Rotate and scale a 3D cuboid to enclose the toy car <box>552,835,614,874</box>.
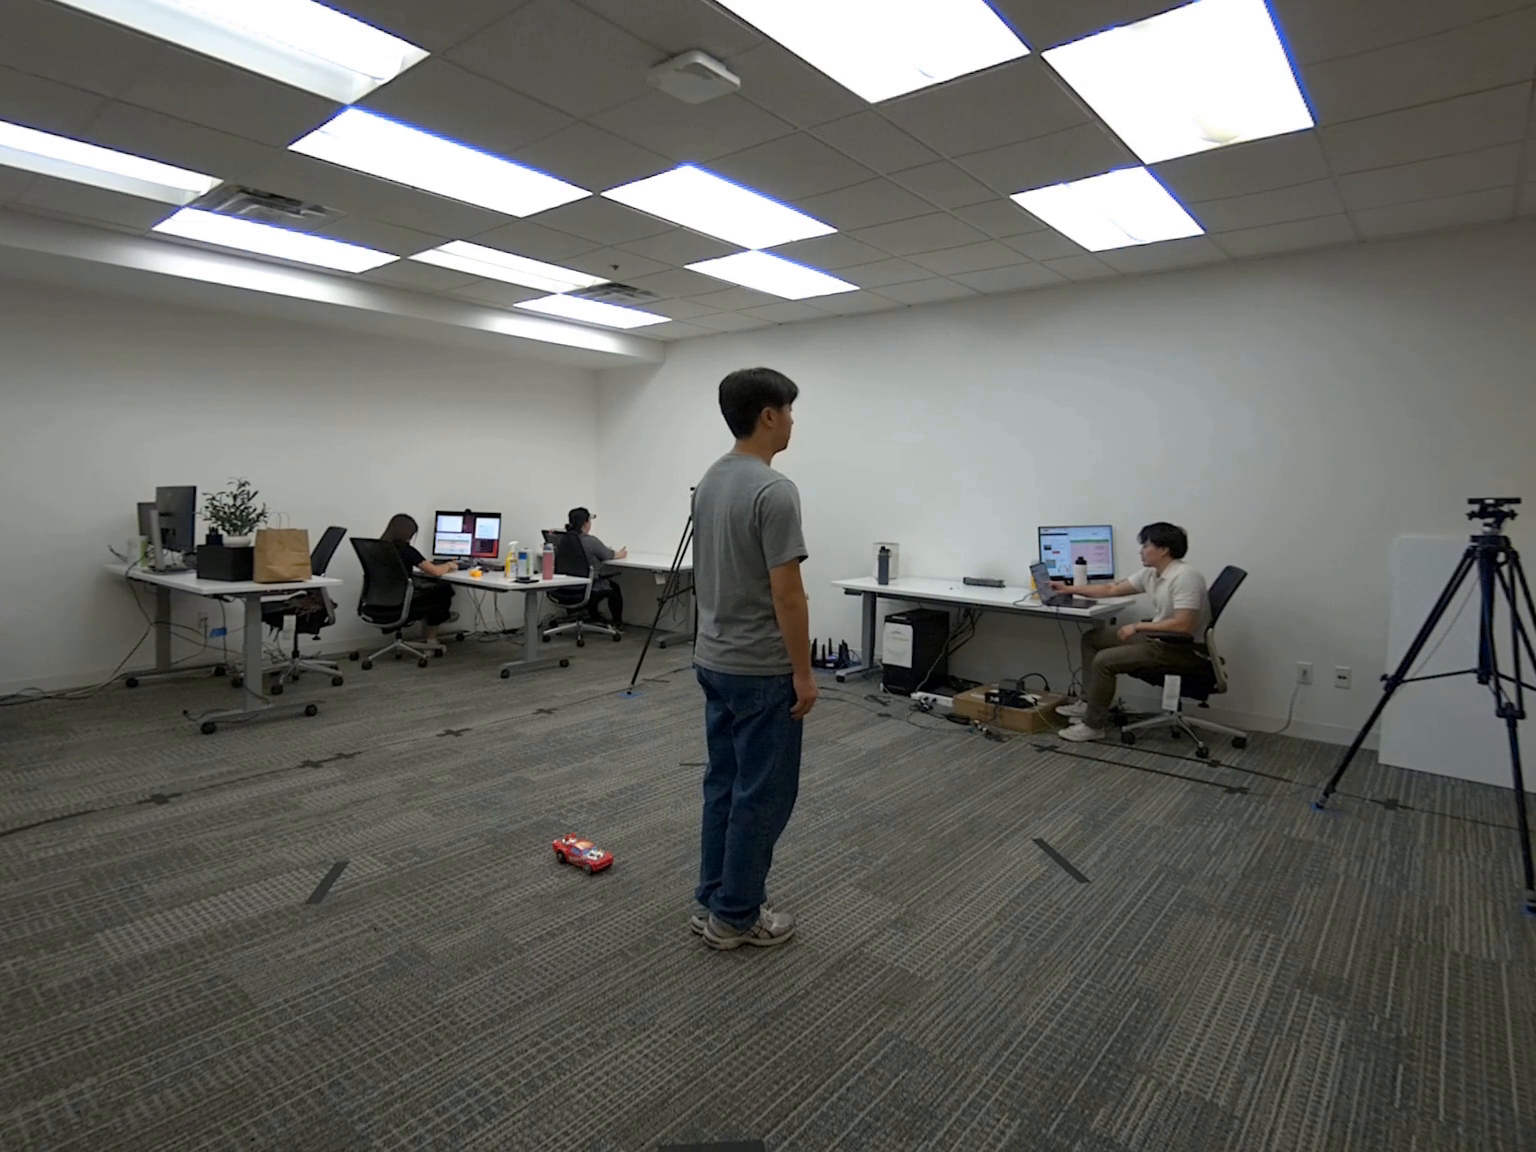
[{"bbox_3d":[-0.702,1.021,3.136,0.264,0.082,0.126,18,14,37],"label":"toy car"}]
